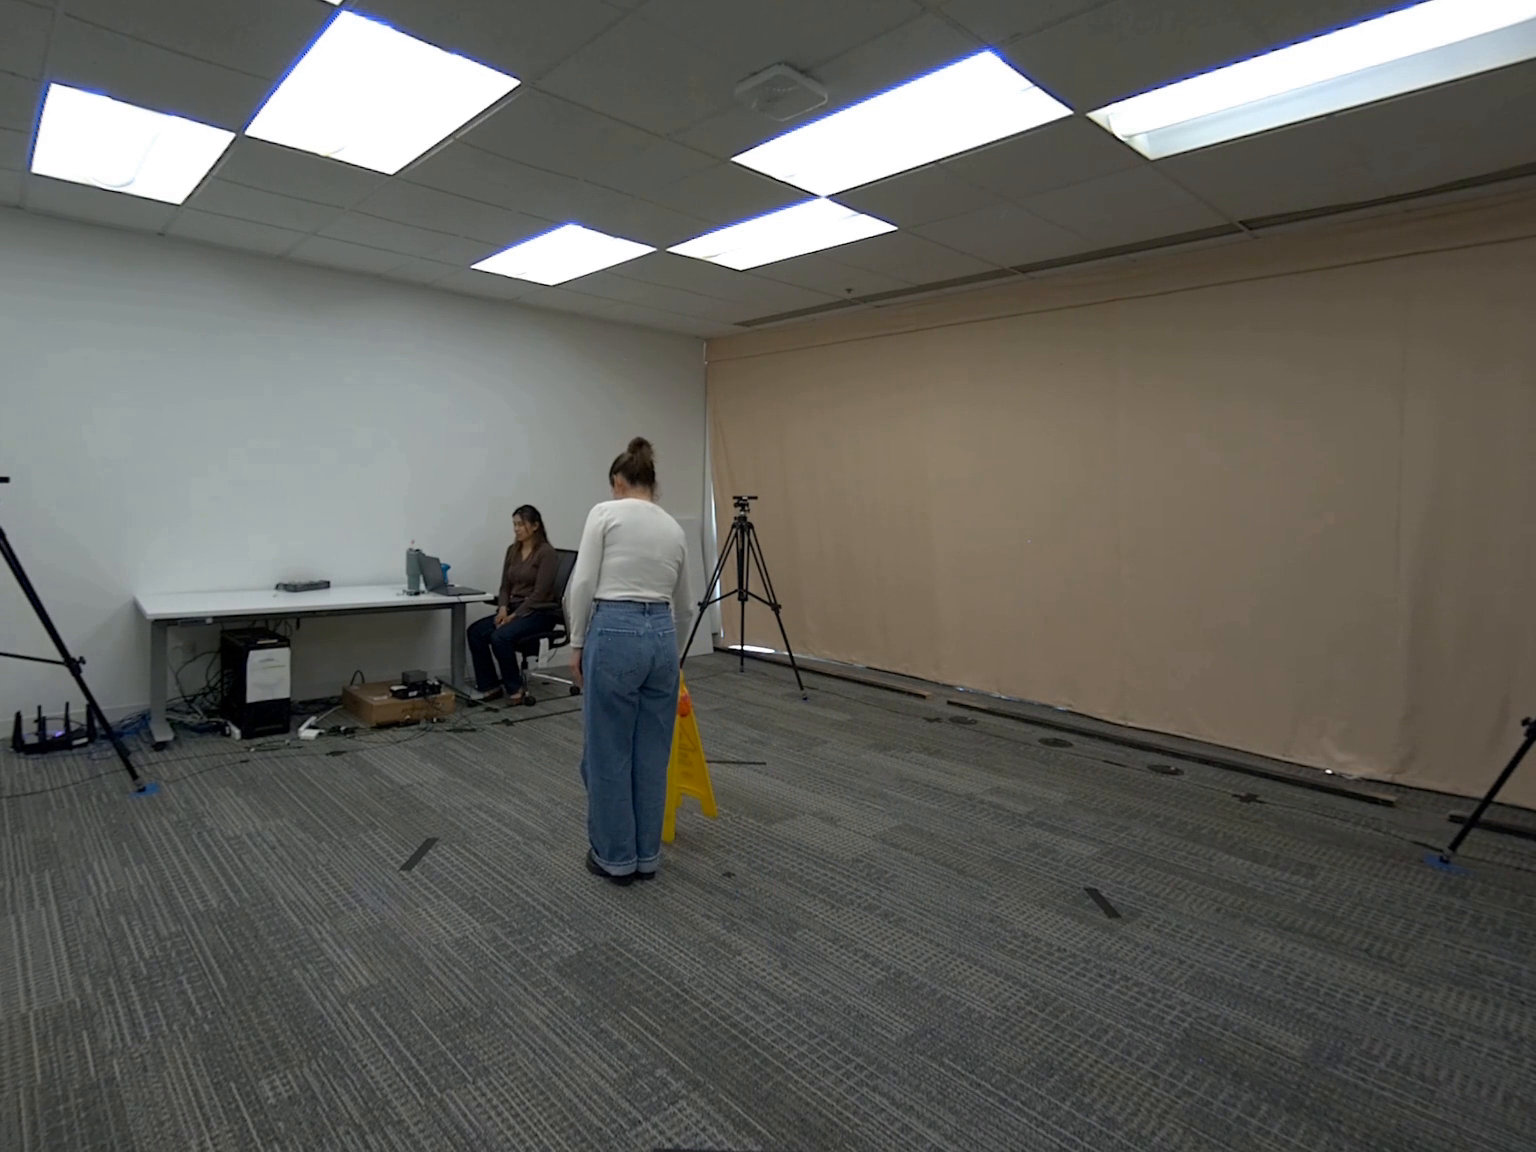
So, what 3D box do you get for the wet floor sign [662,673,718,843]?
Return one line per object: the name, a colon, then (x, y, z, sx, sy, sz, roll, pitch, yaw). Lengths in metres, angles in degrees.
wet floor sign: (-0.416, 0.687, 3.406, 0.289, 0.643, 0.284, 4, 8, 39)
